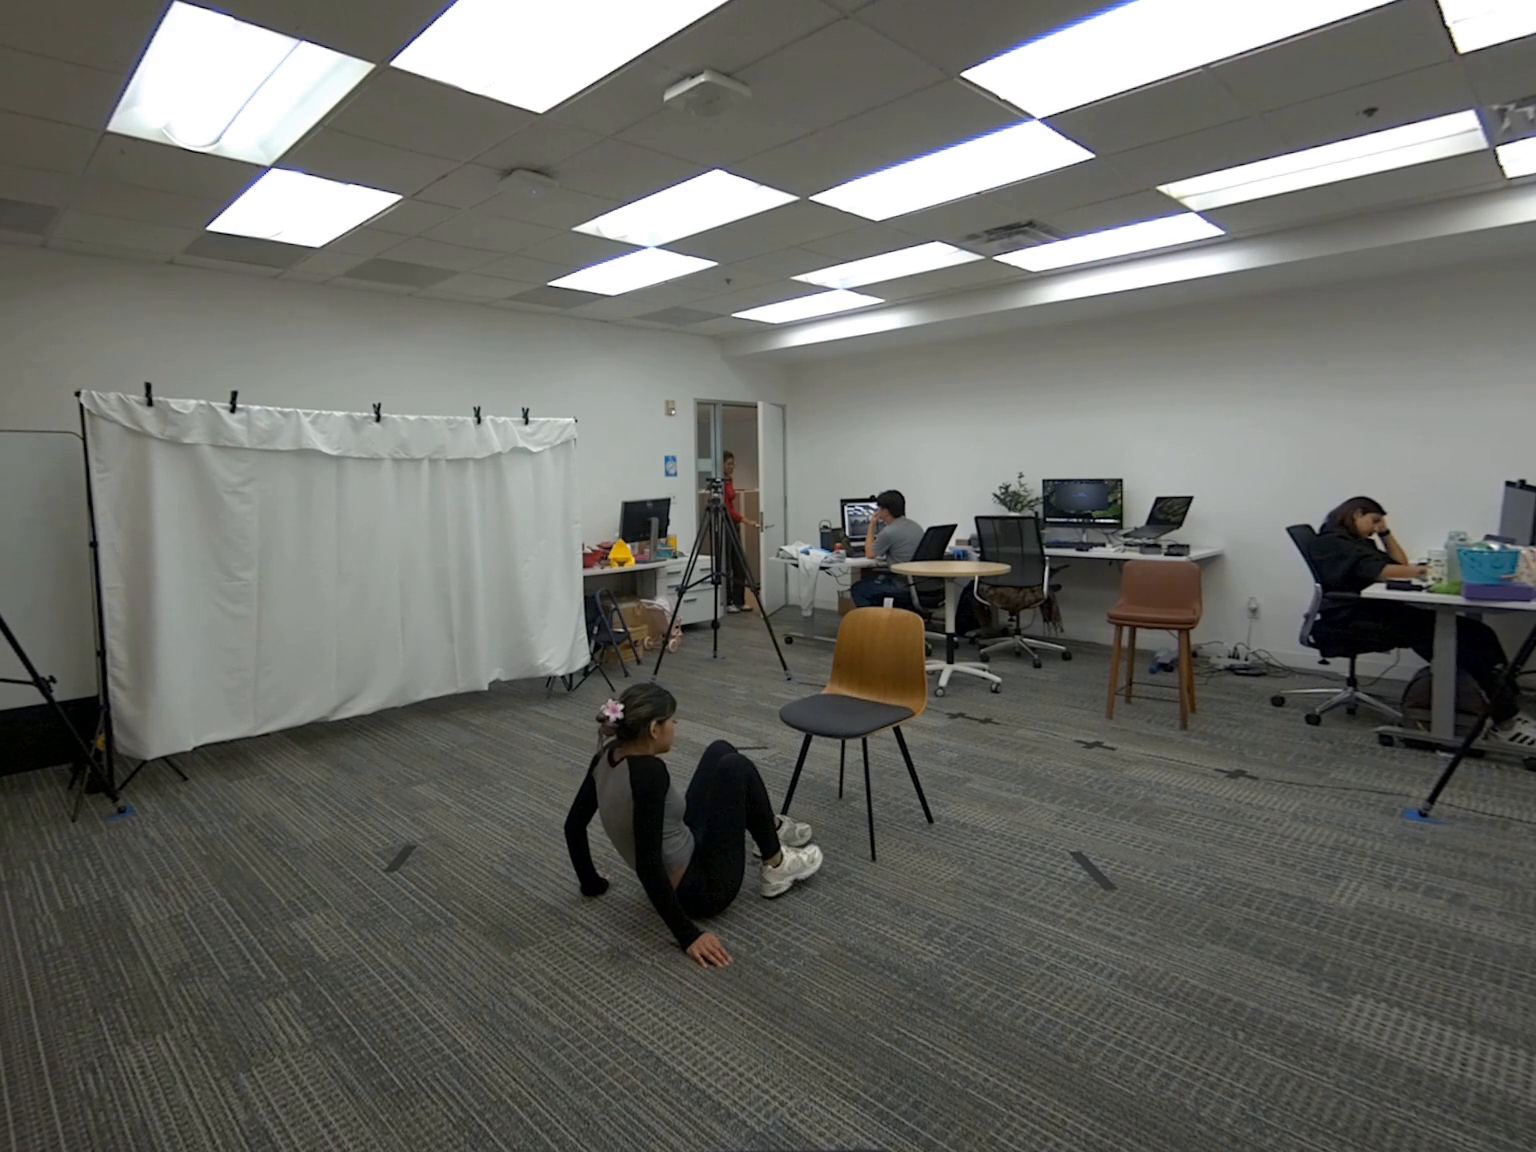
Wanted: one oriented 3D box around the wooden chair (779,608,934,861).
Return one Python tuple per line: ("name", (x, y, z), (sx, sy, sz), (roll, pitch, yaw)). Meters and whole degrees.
("wooden chair", (0.339, 0.576, 3.376), (0.492, 0.877, 0.508), (3, 1, 40))
